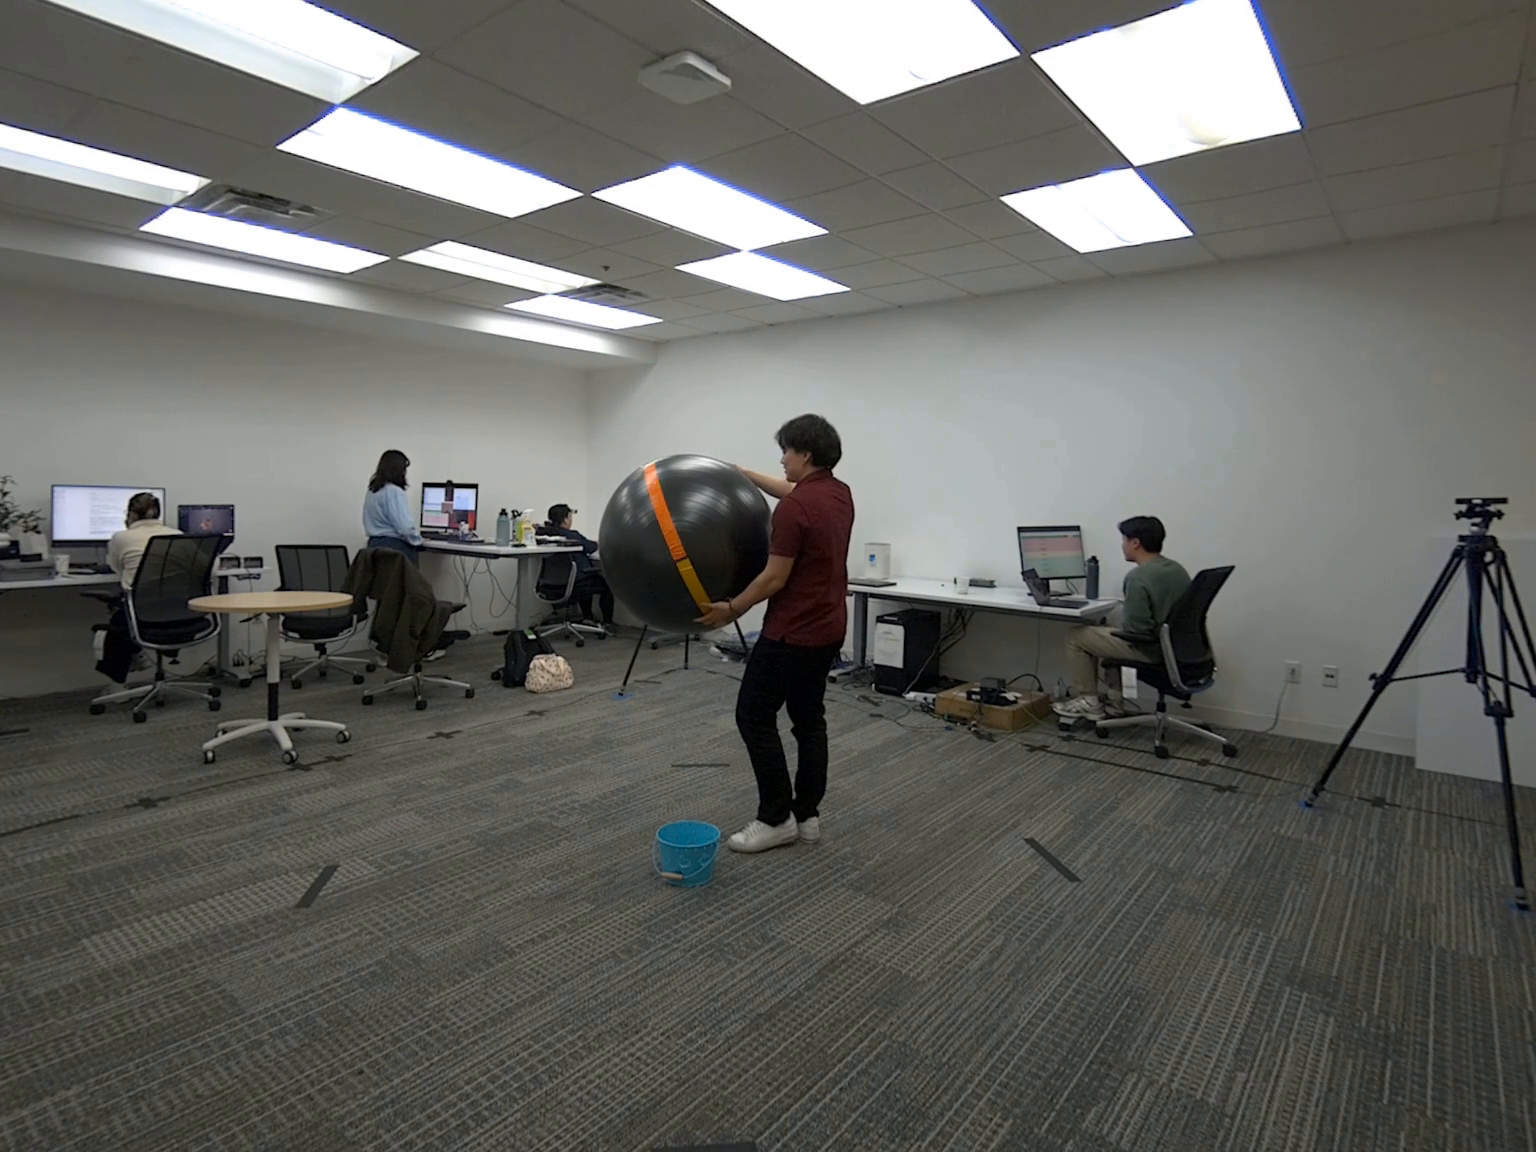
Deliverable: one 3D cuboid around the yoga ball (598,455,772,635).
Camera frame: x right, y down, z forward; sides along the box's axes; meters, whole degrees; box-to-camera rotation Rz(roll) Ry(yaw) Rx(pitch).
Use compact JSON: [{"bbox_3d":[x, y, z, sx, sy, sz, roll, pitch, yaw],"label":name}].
[{"bbox_3d":[-0.357,-0.133,3.610,0.757,0.756,0.761,1,4,-2],"label":"yoga ball"}]
